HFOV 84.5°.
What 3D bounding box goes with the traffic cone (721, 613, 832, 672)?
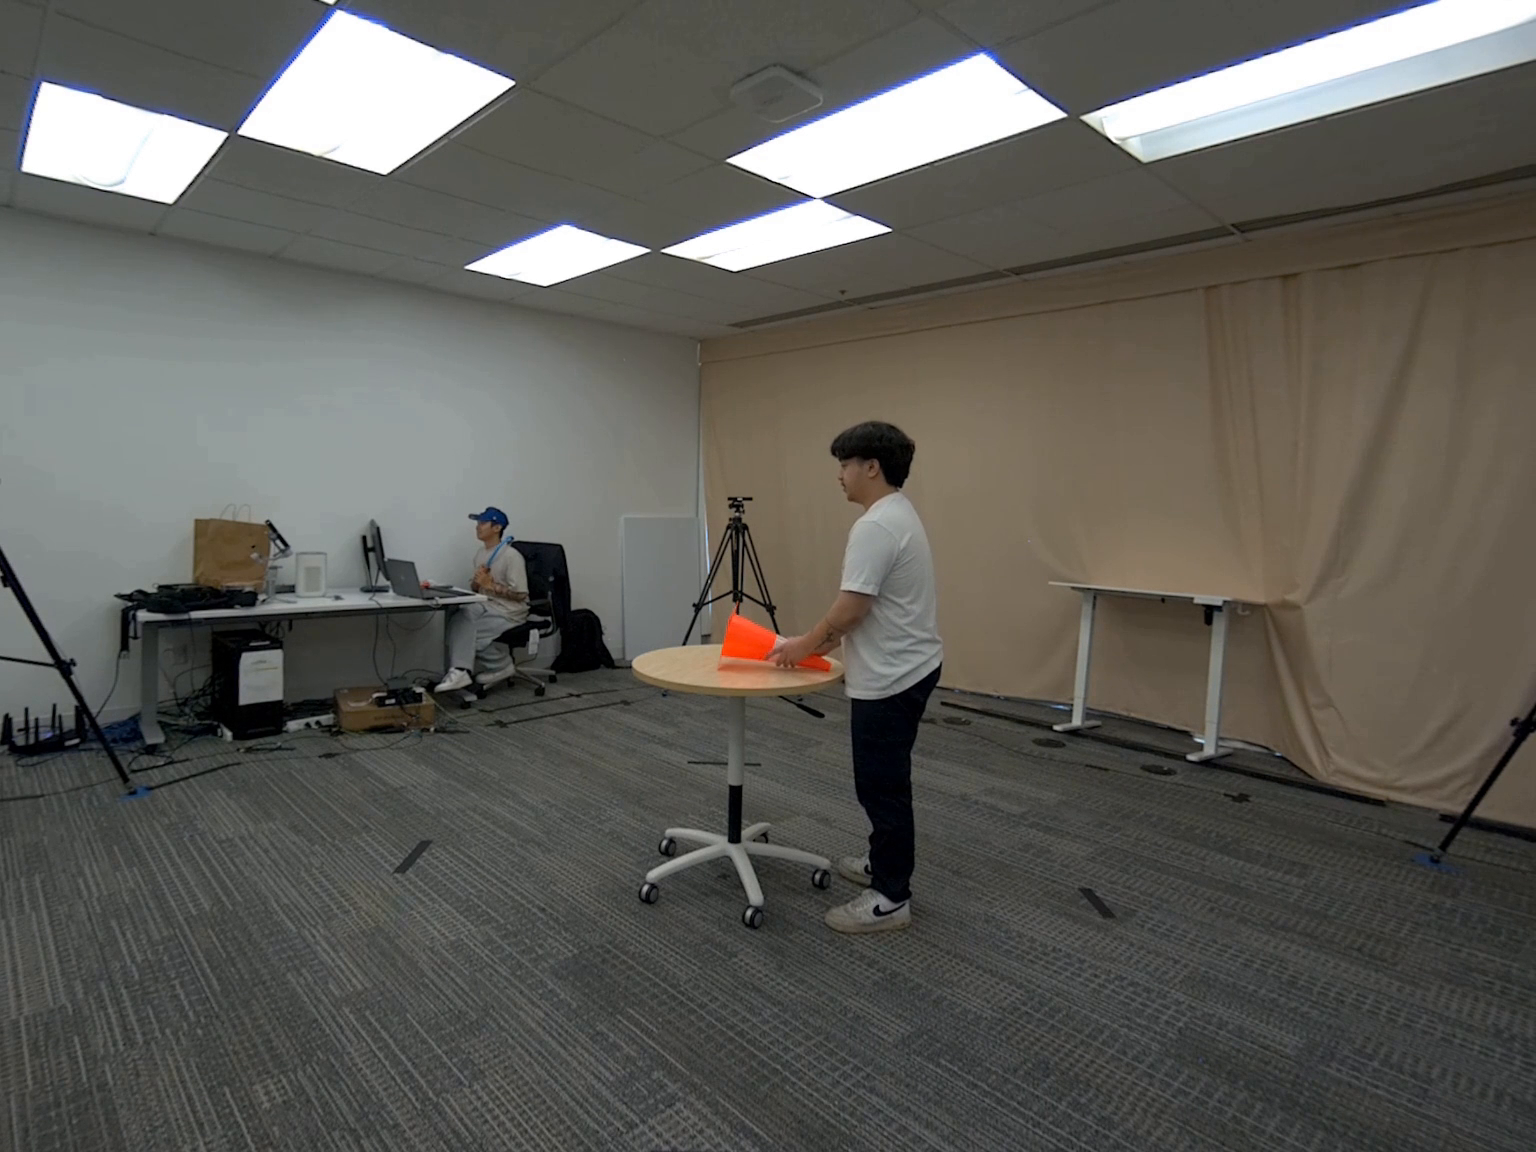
[{"bbox_3d":[0.037,0.274,2.958,0.384,0.204,0.204,17,9,0],"label":"traffic cone"}]
